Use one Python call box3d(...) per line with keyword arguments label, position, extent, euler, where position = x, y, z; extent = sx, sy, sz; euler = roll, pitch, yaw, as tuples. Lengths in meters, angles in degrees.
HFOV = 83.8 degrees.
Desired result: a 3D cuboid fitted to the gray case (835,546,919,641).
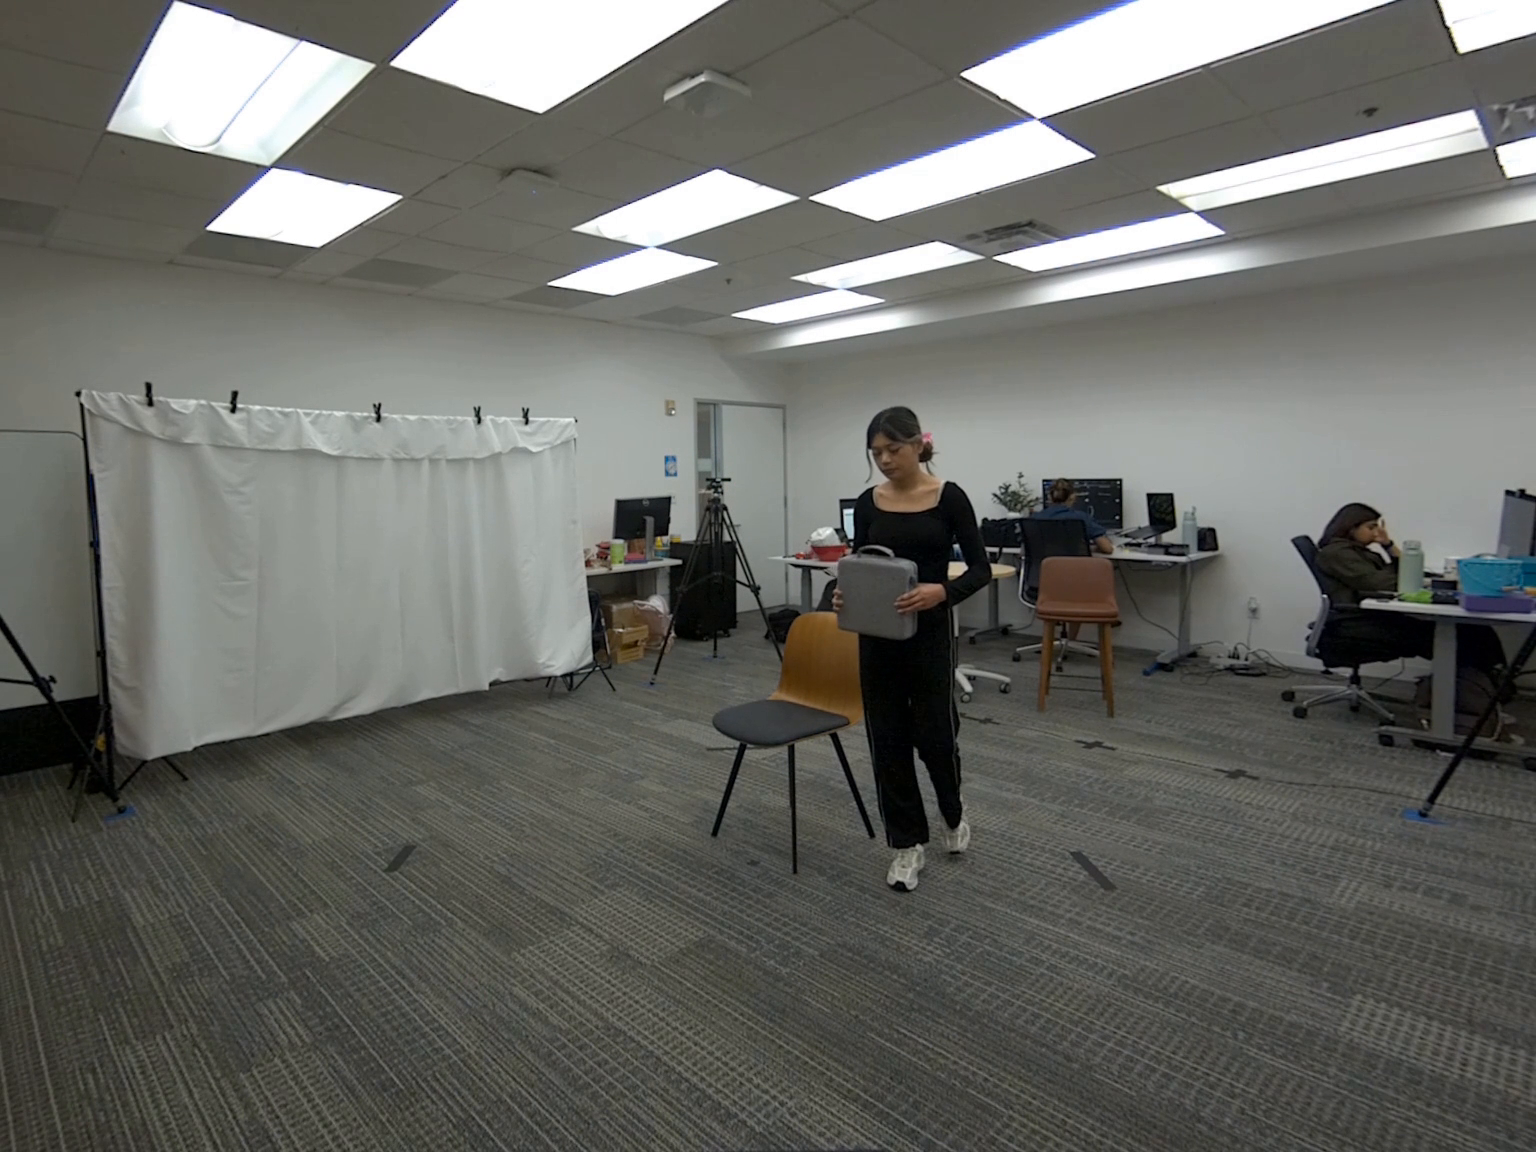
box3d(label="gray case", position=(0.358, 0.060, 2.777), extent=(0.265, 0.259, 0.102), euler=(6, 11, 38))
